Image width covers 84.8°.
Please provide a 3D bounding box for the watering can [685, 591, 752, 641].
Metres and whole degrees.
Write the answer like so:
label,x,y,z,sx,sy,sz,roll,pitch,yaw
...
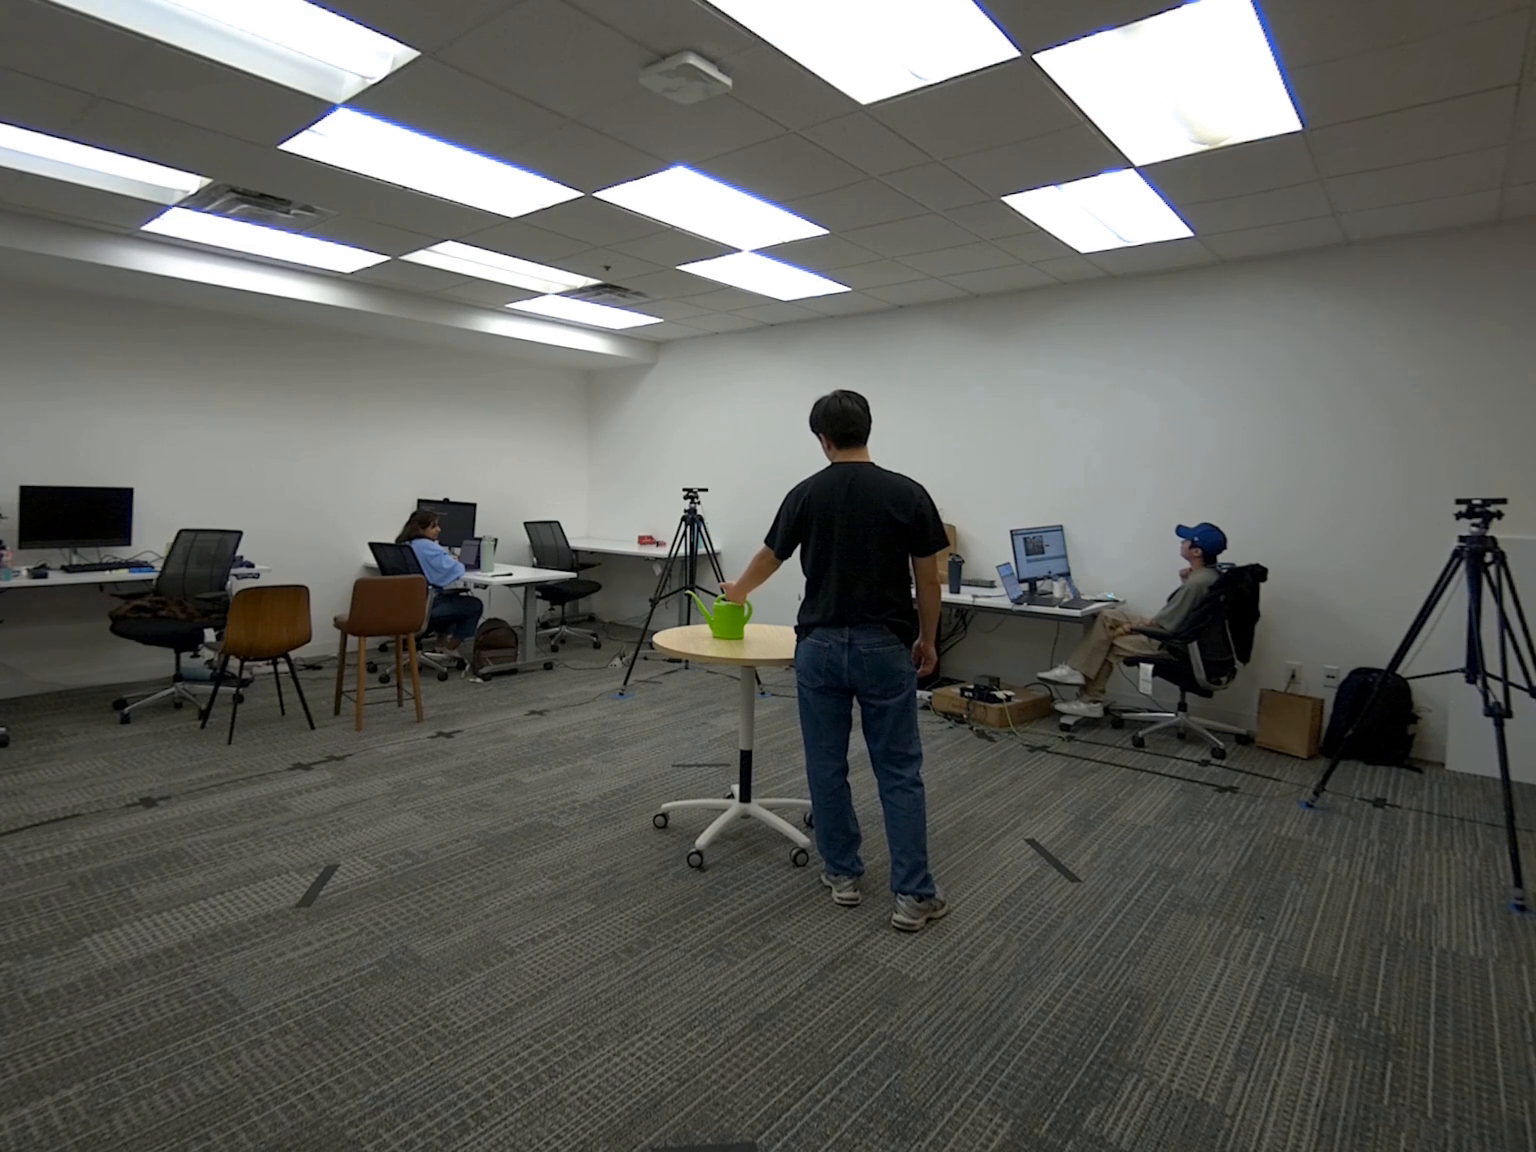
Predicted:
label,x,y,z,sx,sy,sz,roll,pitch,yaw
watering can,-0.209,0.152,3.430,0.285,0.176,0.096,6,3,22
